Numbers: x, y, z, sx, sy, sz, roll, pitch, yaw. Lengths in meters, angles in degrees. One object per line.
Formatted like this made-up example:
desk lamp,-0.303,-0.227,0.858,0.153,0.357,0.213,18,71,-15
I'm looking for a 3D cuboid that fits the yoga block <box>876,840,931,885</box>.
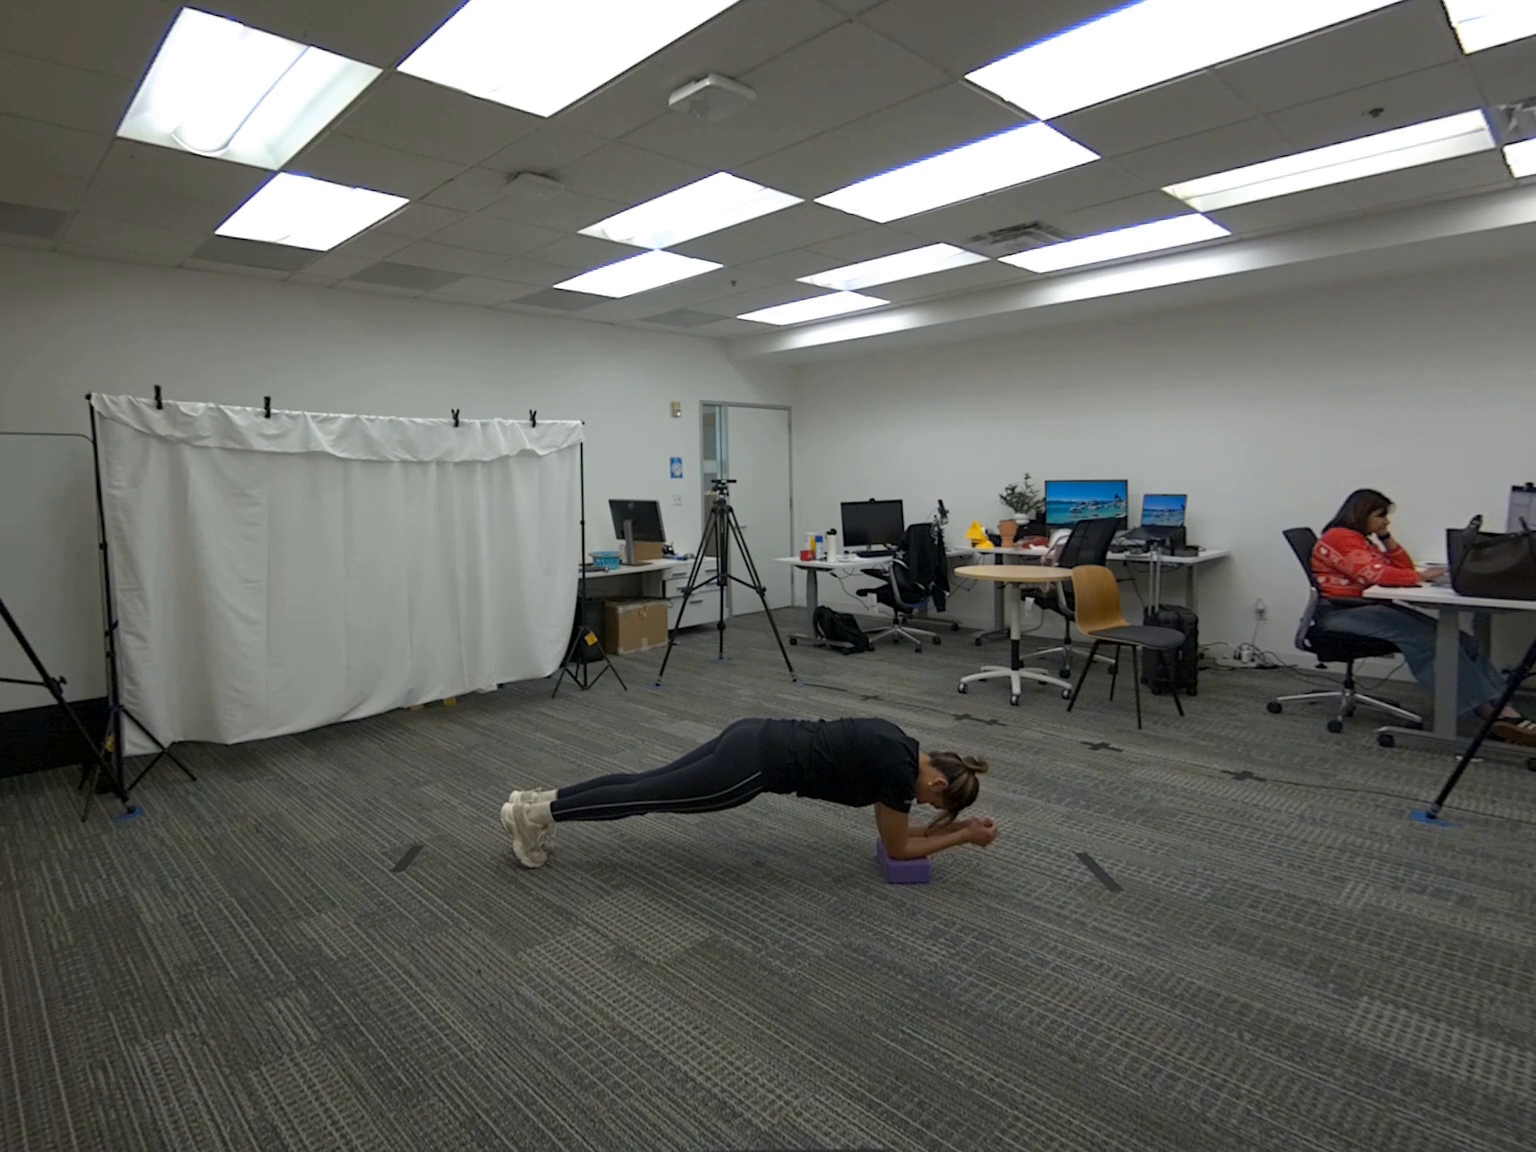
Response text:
yoga block,0.478,0.998,3.038,0.149,0.076,0.230,1,6,0
